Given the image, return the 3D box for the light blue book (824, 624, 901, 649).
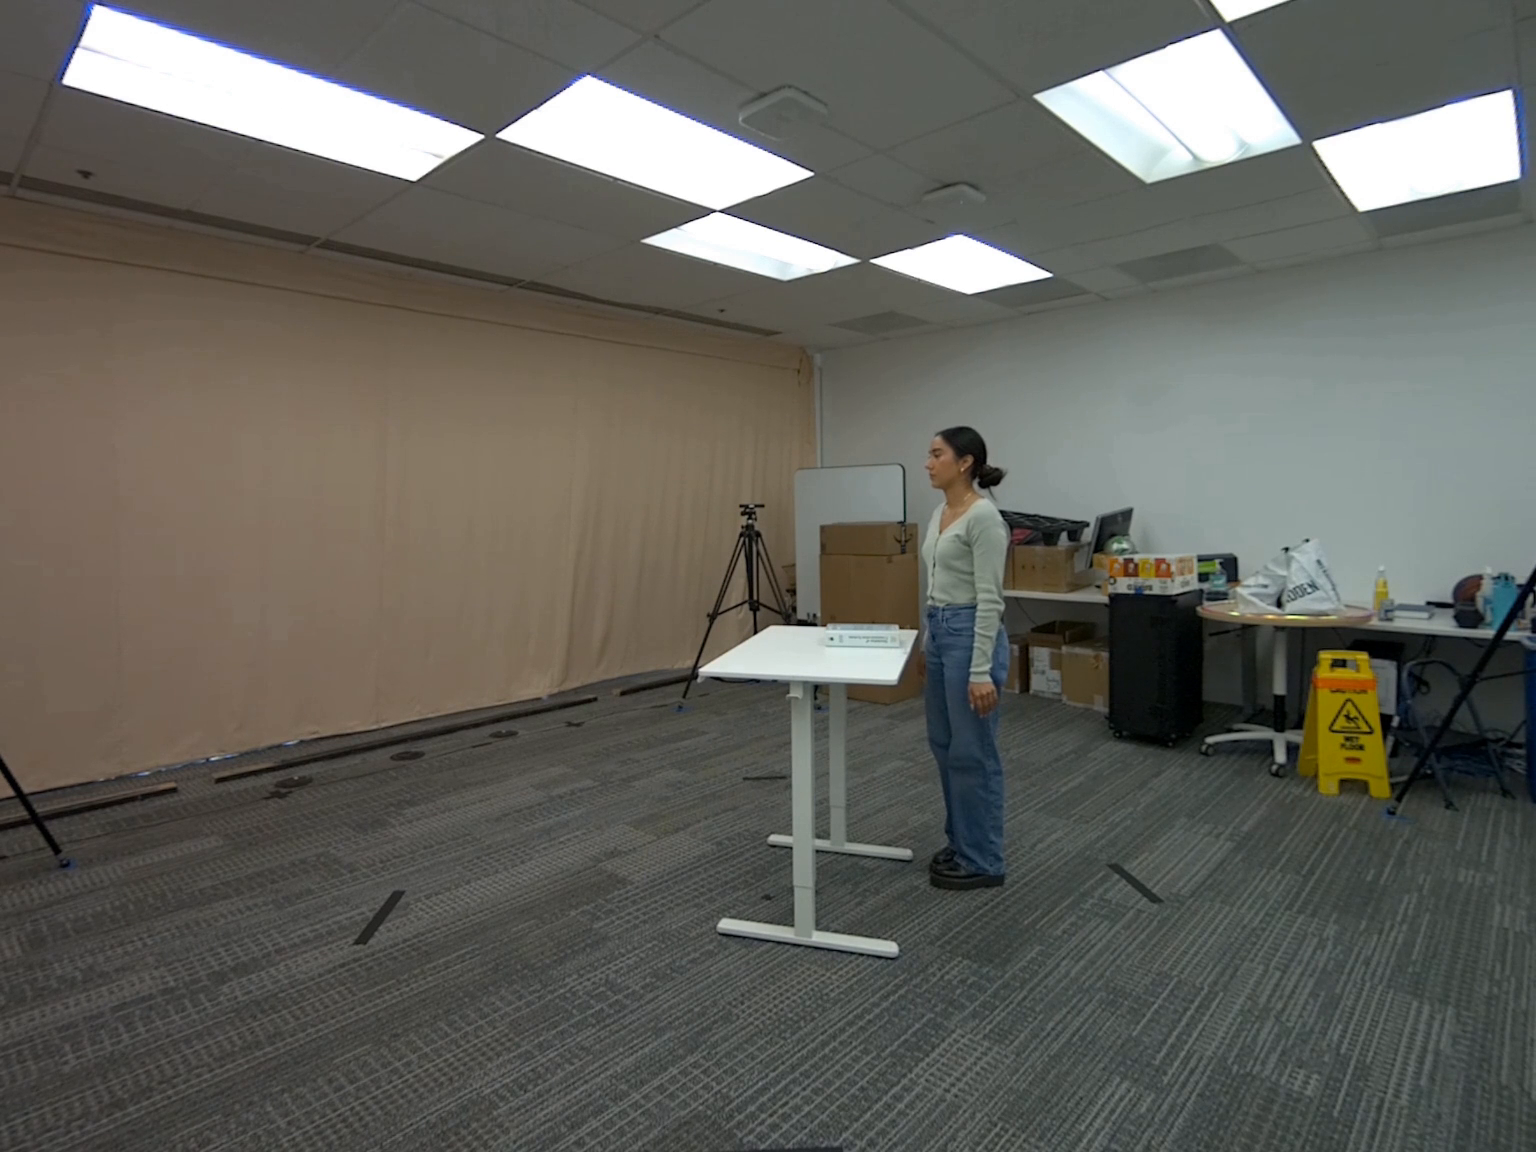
[{"bbox_3d":[0.348,0.219,3.074,0.264,0.059,0.190,0,4,9],"label":"light blue book"}]
